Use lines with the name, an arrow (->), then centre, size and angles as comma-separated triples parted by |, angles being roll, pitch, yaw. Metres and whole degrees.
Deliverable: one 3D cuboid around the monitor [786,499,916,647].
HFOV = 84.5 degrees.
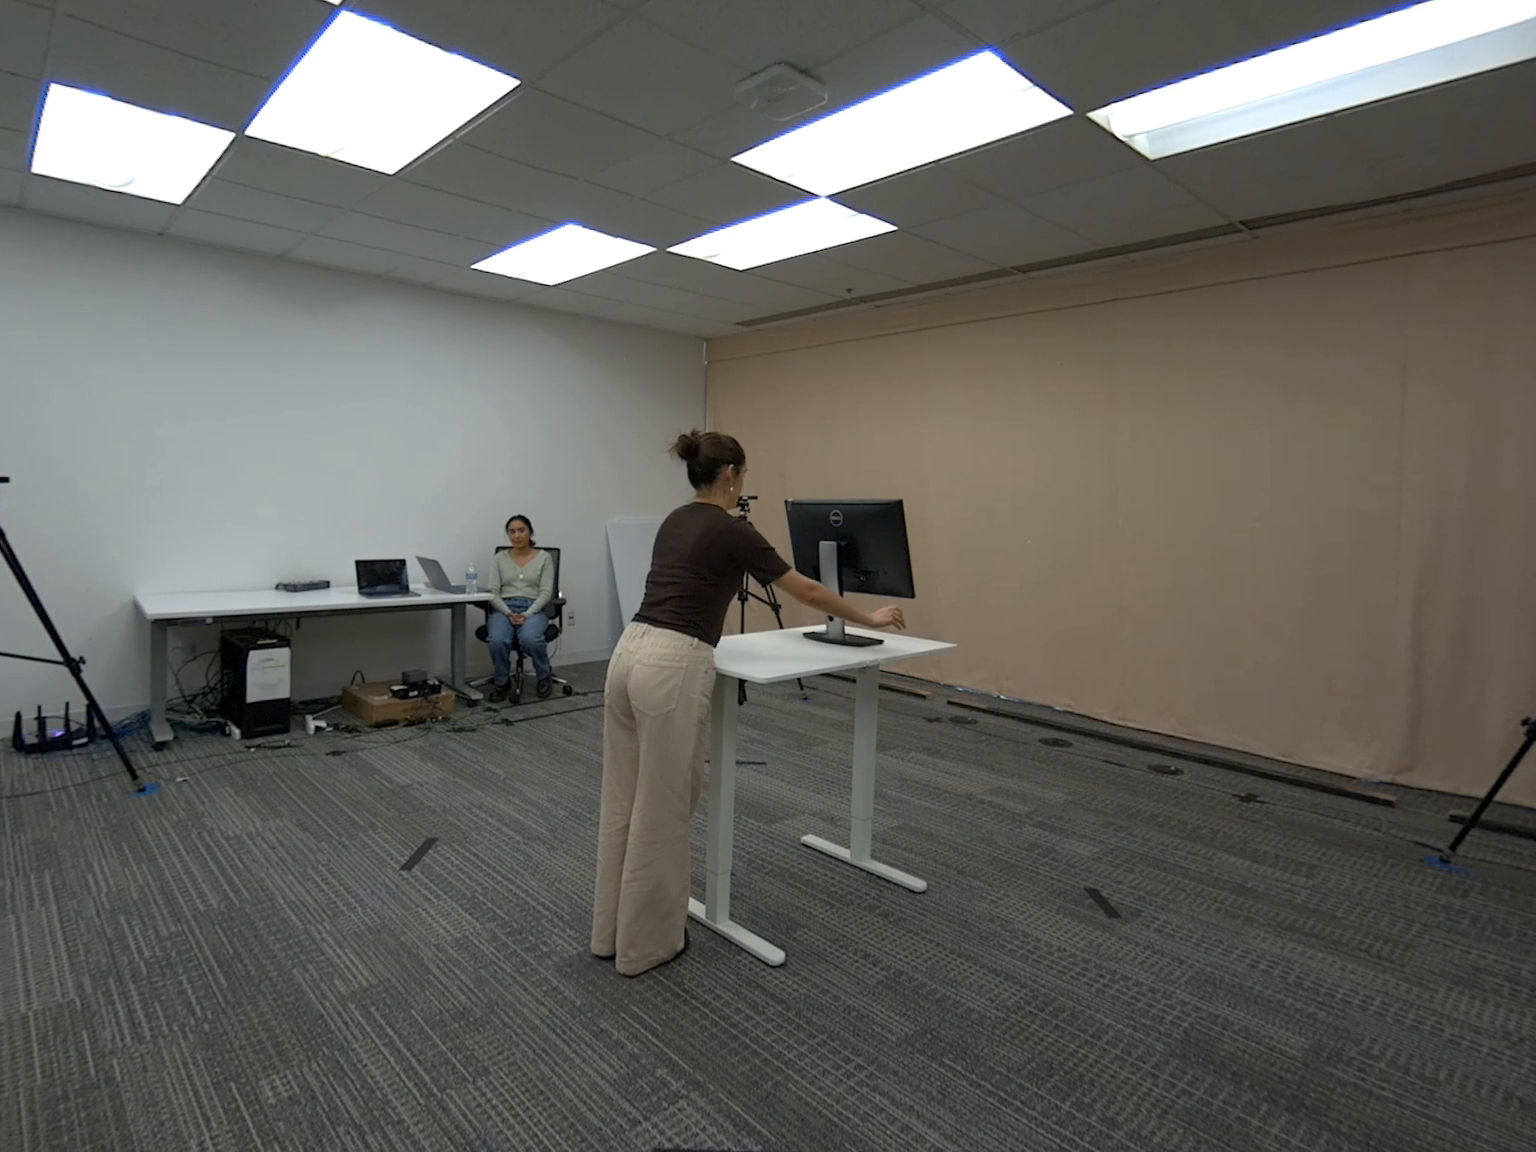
monitor -> 0.266, -0.019, 3.046 | 0.543, 0.516, 0.170 | 3, 1, 44
